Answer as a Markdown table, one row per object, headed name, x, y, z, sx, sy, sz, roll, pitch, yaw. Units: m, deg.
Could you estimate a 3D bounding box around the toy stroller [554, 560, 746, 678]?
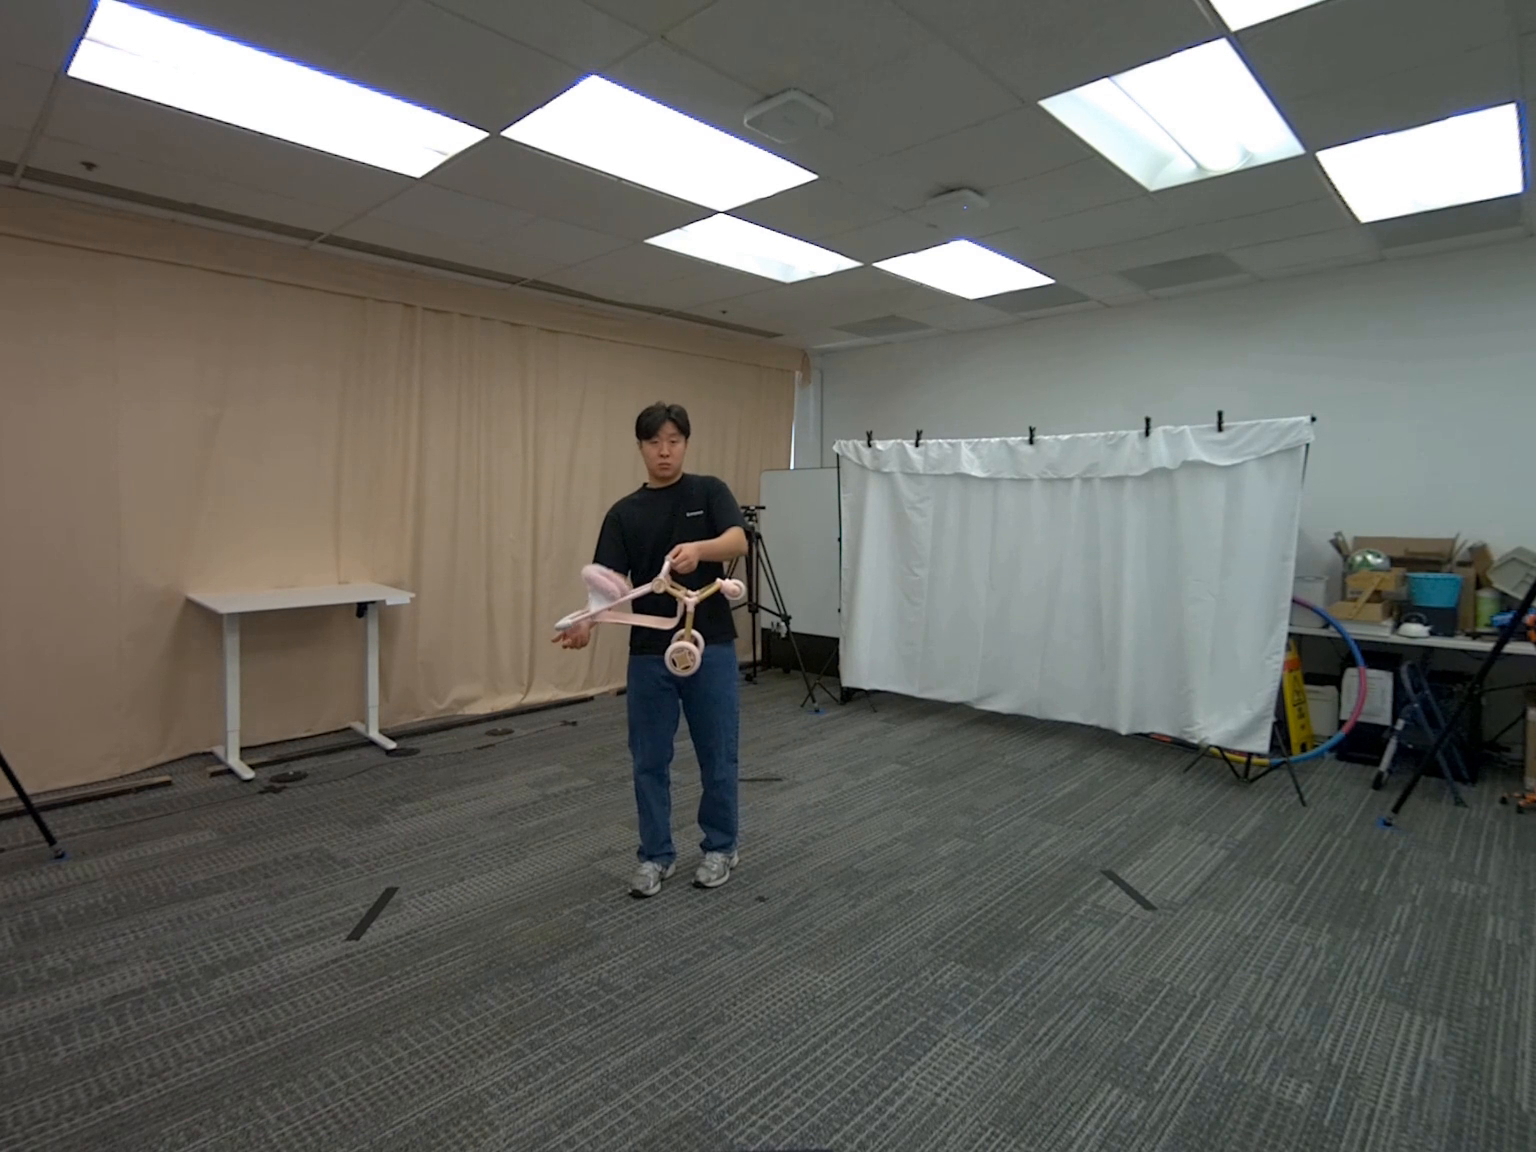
| name | x | y | z | sx | sy | sz | roll | pitch | yaw |
| --- | --- | --- | --- | --- | --- | --- | --- | --- | --- |
| toy stroller | -0.361 | 0.093 | 2.685 | 0.536 | 0.340 | 0.281 | 20 | 8 | 1 |
